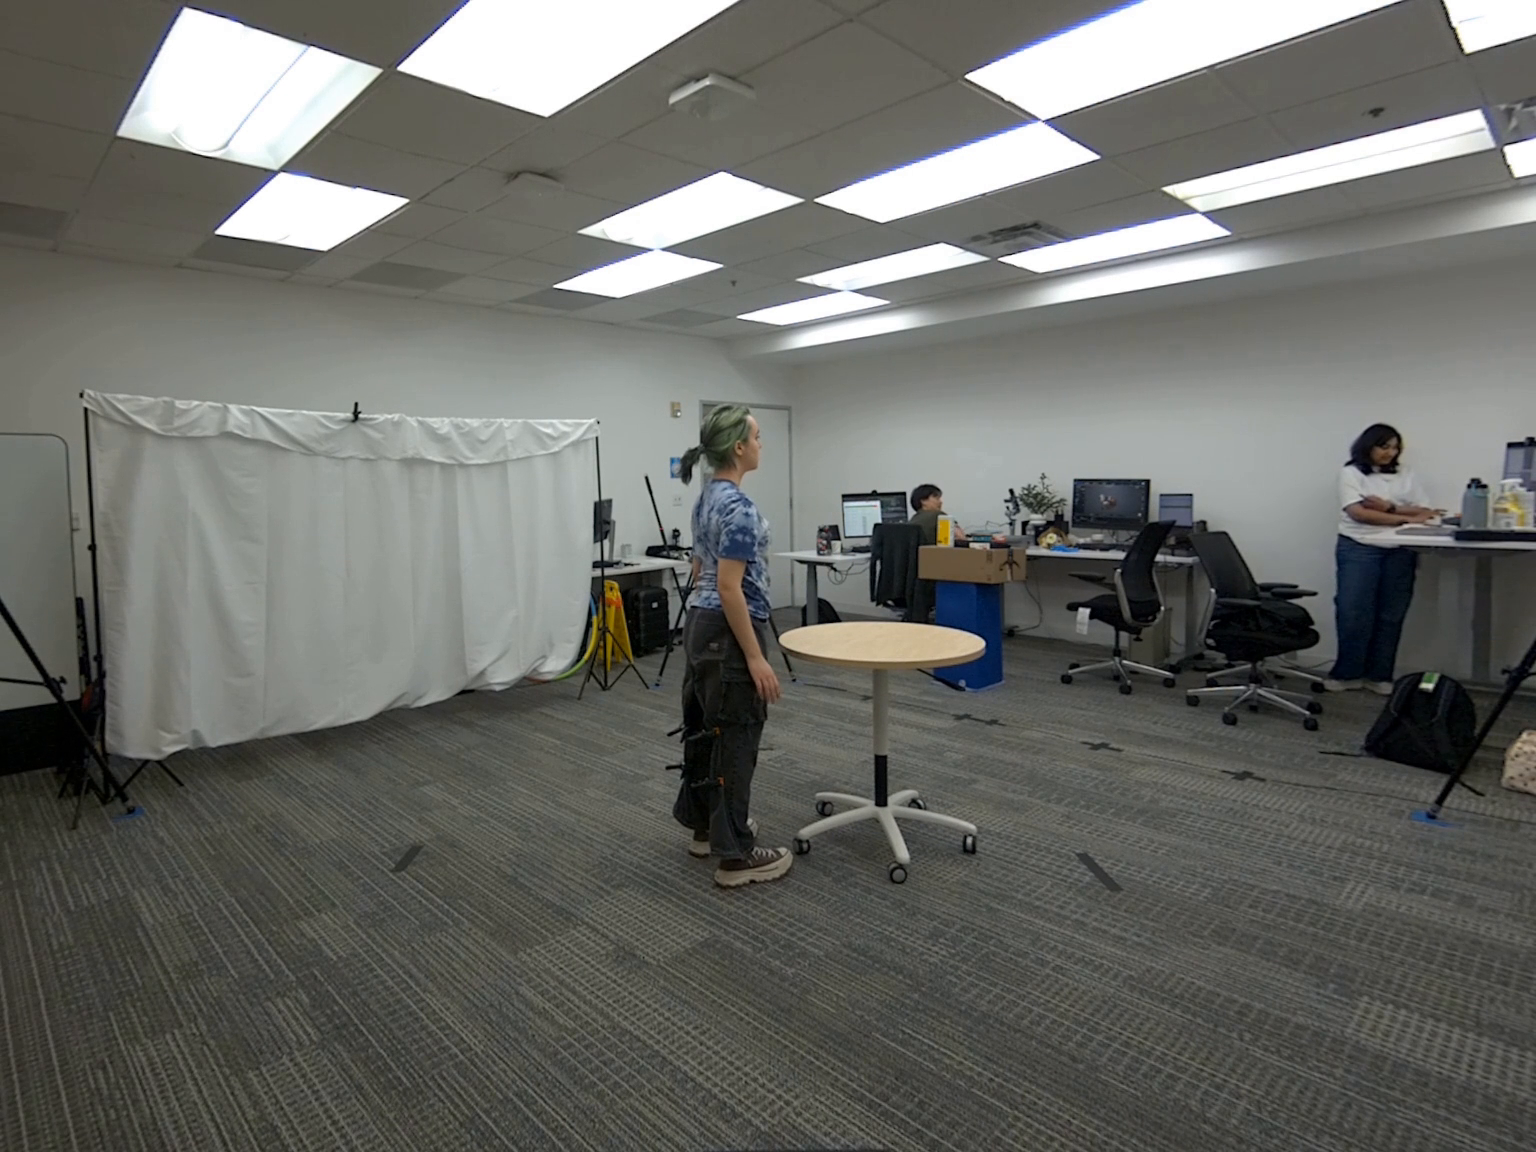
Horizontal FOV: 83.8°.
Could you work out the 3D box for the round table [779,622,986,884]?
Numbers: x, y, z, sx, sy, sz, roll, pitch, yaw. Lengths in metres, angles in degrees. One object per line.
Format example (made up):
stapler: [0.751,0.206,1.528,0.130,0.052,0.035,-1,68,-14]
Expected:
round table: [0.435,0.634,3.261,0.763,0.791,0.768,-1,5,-2]
